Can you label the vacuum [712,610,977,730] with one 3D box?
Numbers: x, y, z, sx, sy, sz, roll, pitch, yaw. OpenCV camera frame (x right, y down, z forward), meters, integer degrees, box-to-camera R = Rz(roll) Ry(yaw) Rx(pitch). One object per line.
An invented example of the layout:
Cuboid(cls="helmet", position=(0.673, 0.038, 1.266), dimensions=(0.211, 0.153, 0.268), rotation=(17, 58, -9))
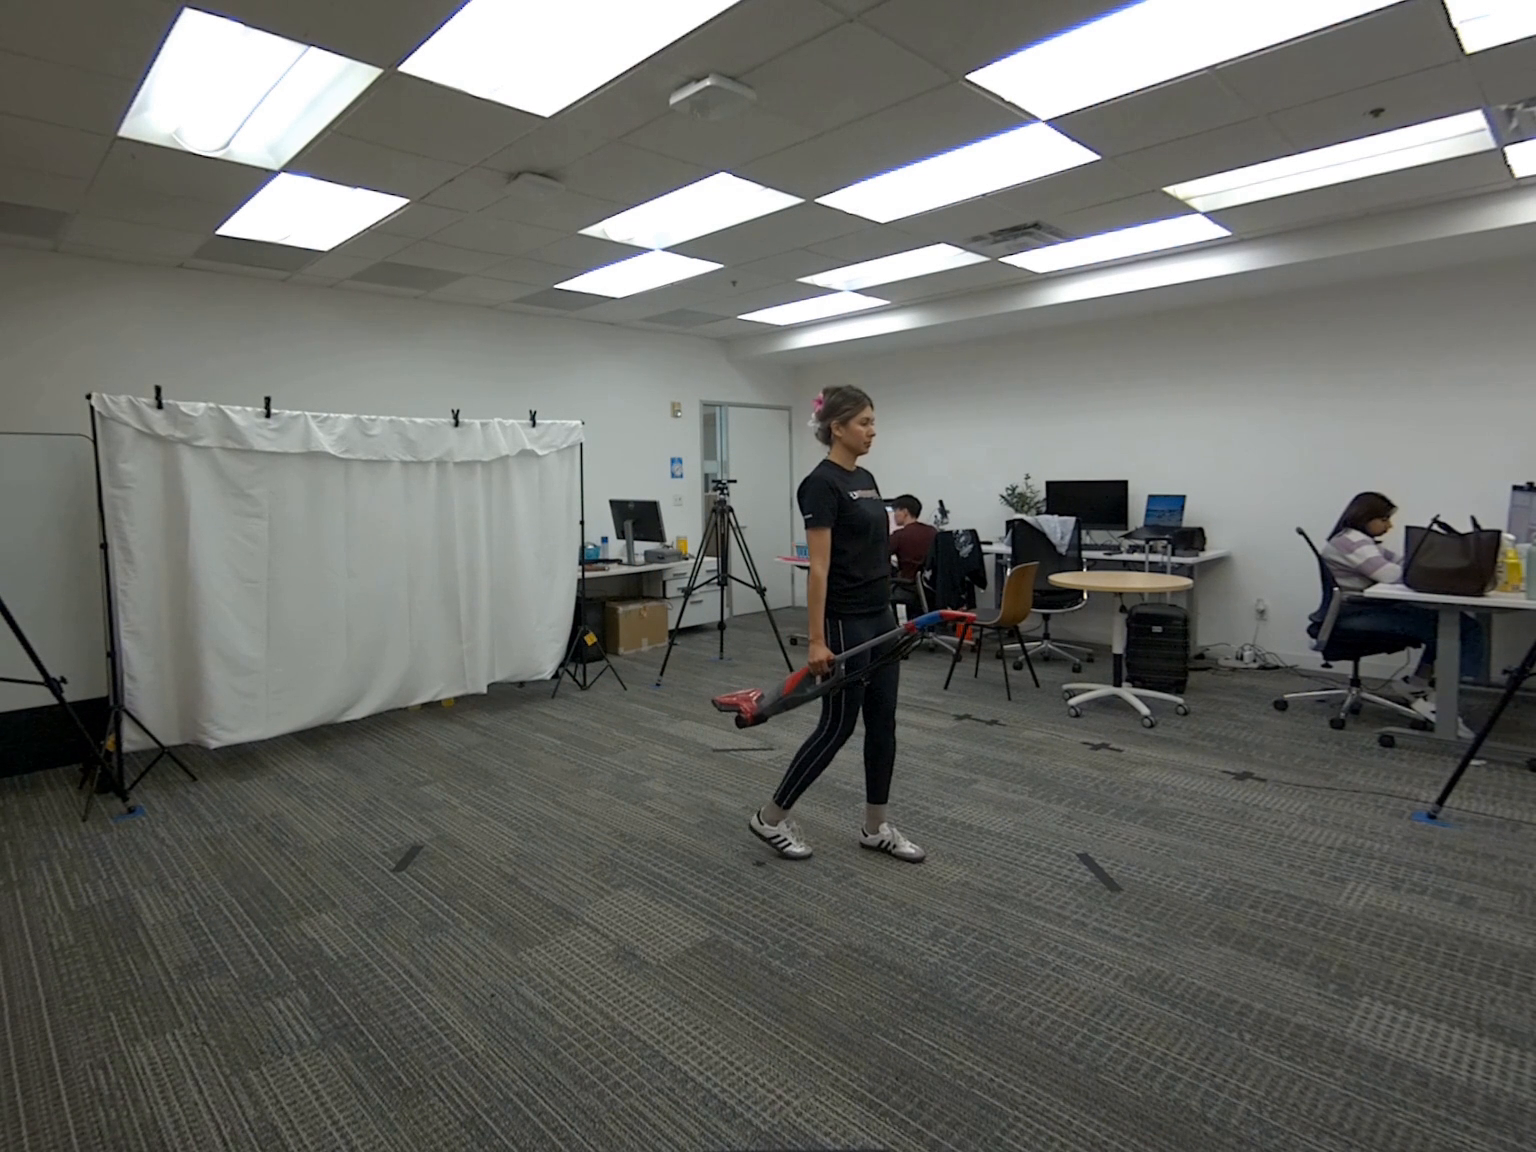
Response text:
Cuboid(cls="vacuum", position=(0.252, 0.319, 2.838), dimensions=(0.245, 0.146, 1.061), rotation=(-1, -20, -45))
